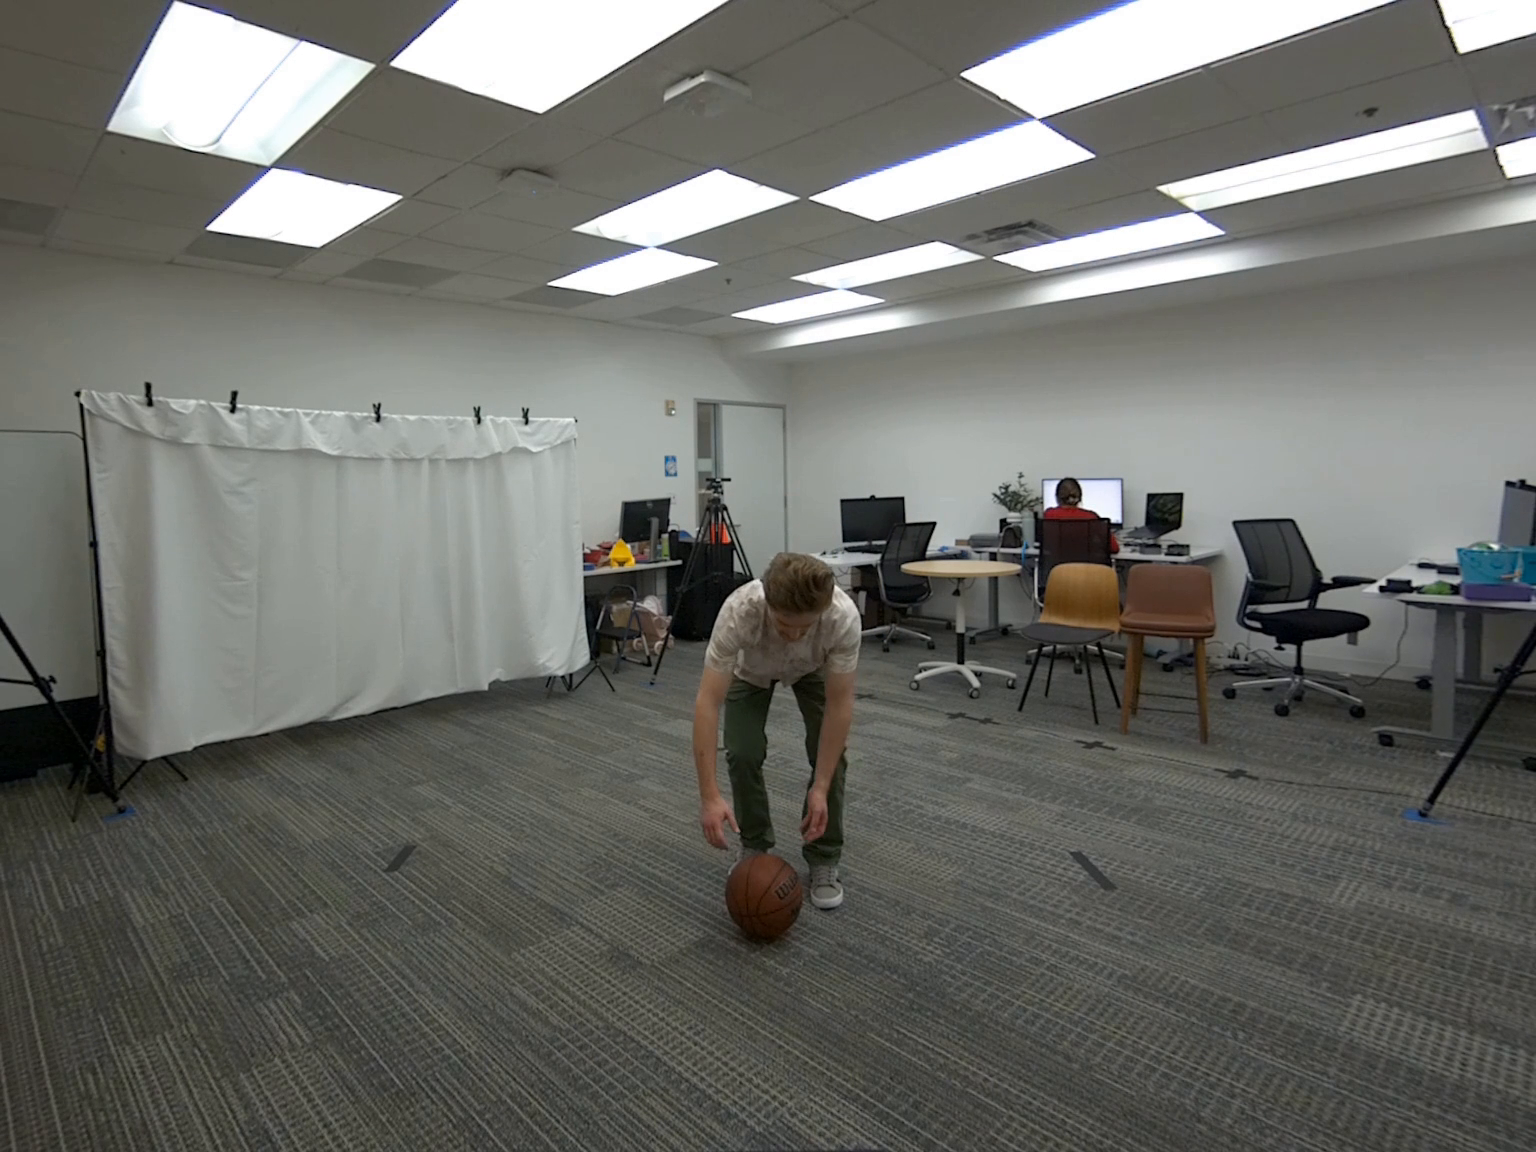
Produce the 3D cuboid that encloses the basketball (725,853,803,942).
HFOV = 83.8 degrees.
[{"bbox_3d":[-0.011,0.977,2.626,0.236,0.235,0.237,-1,5,-2],"label":"basketball"}]
